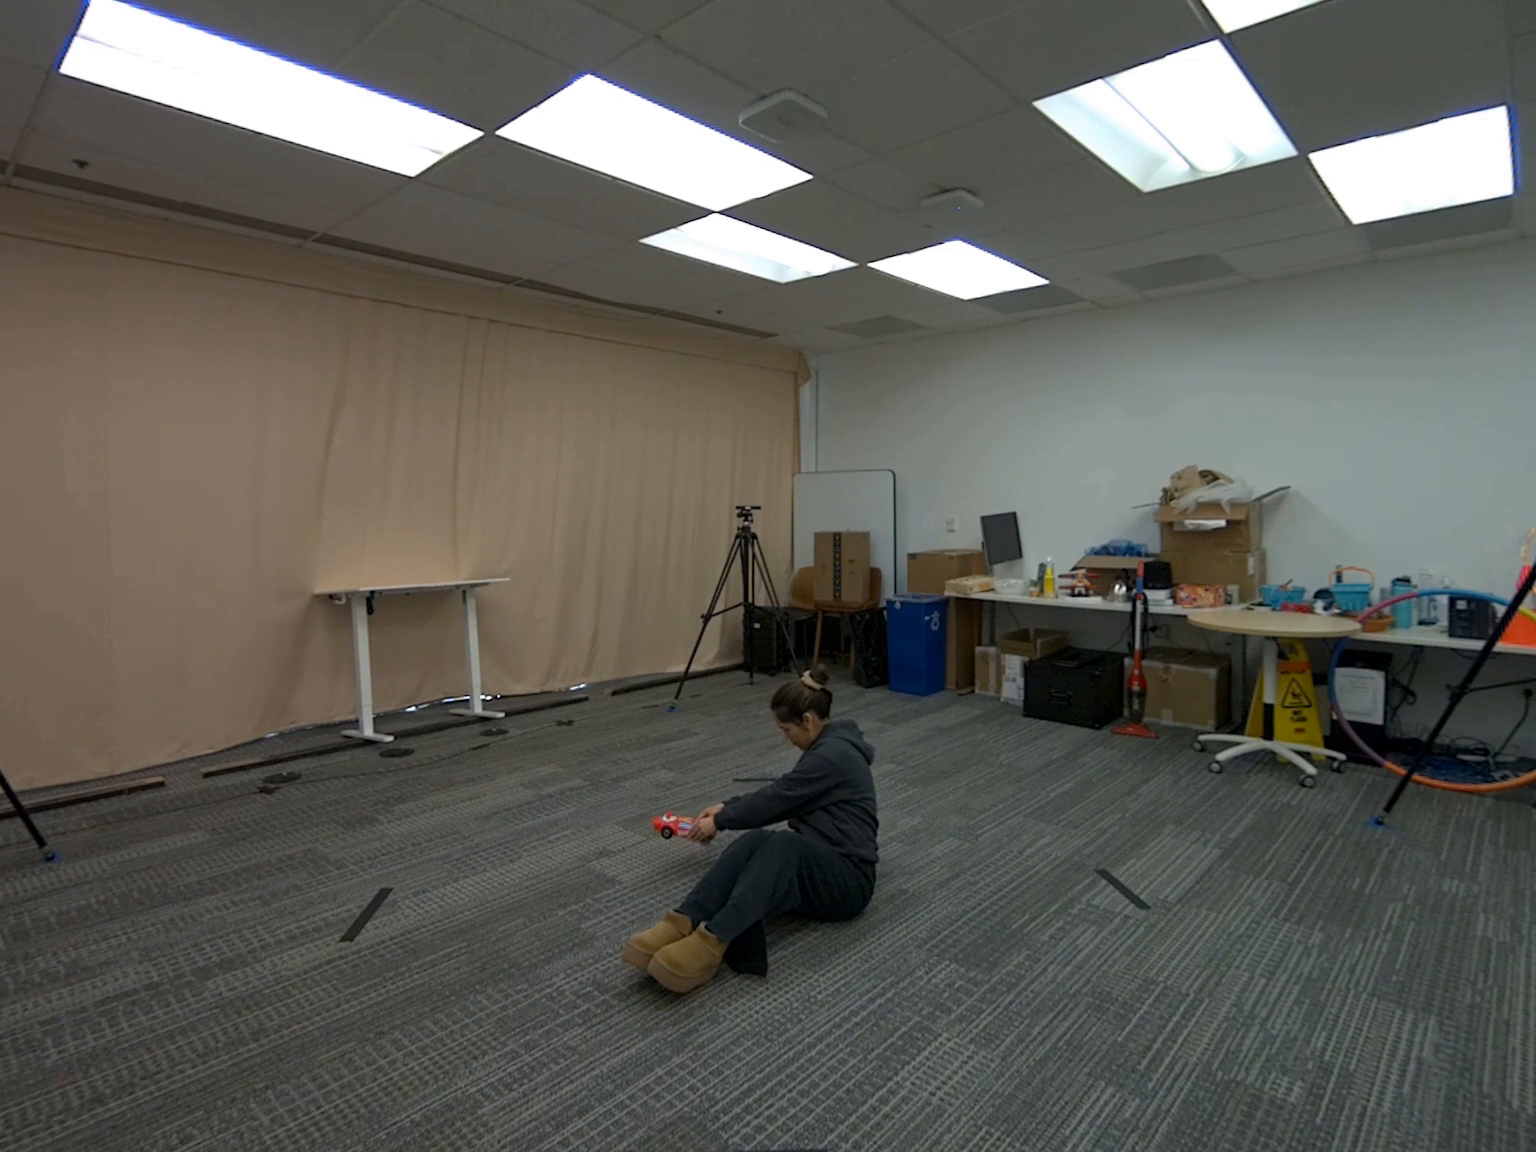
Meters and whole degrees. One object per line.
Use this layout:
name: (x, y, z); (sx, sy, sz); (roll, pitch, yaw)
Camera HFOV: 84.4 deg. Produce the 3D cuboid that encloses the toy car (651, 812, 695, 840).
toy car: (-0.306, 0.974, 3.229); (0.259, 0.083, 0.128); (17, -1, 13)
